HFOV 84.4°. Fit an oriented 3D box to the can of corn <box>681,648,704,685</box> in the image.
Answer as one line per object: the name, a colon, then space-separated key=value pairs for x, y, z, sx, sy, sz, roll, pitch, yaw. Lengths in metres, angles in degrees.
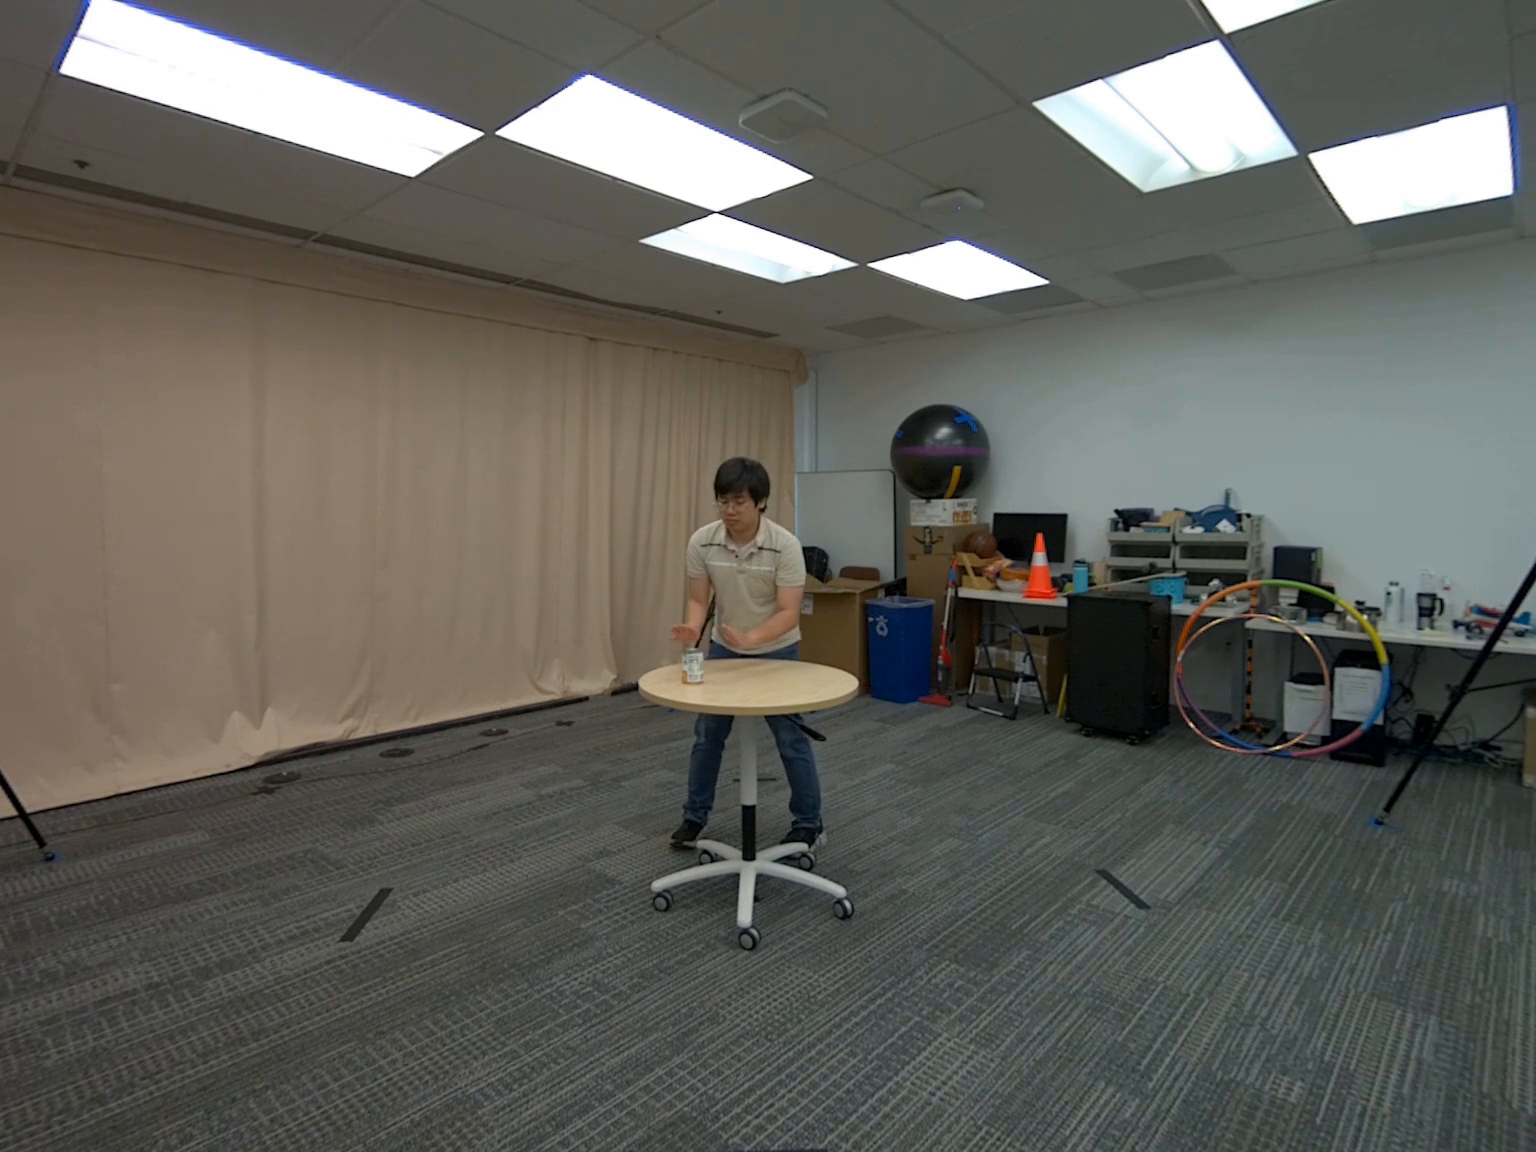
can of corn: x=-0.255 y=0.313 z=2.913 sx=0.074 sy=0.110 sz=0.074 roll=-1 pitch=6 yaw=-2
